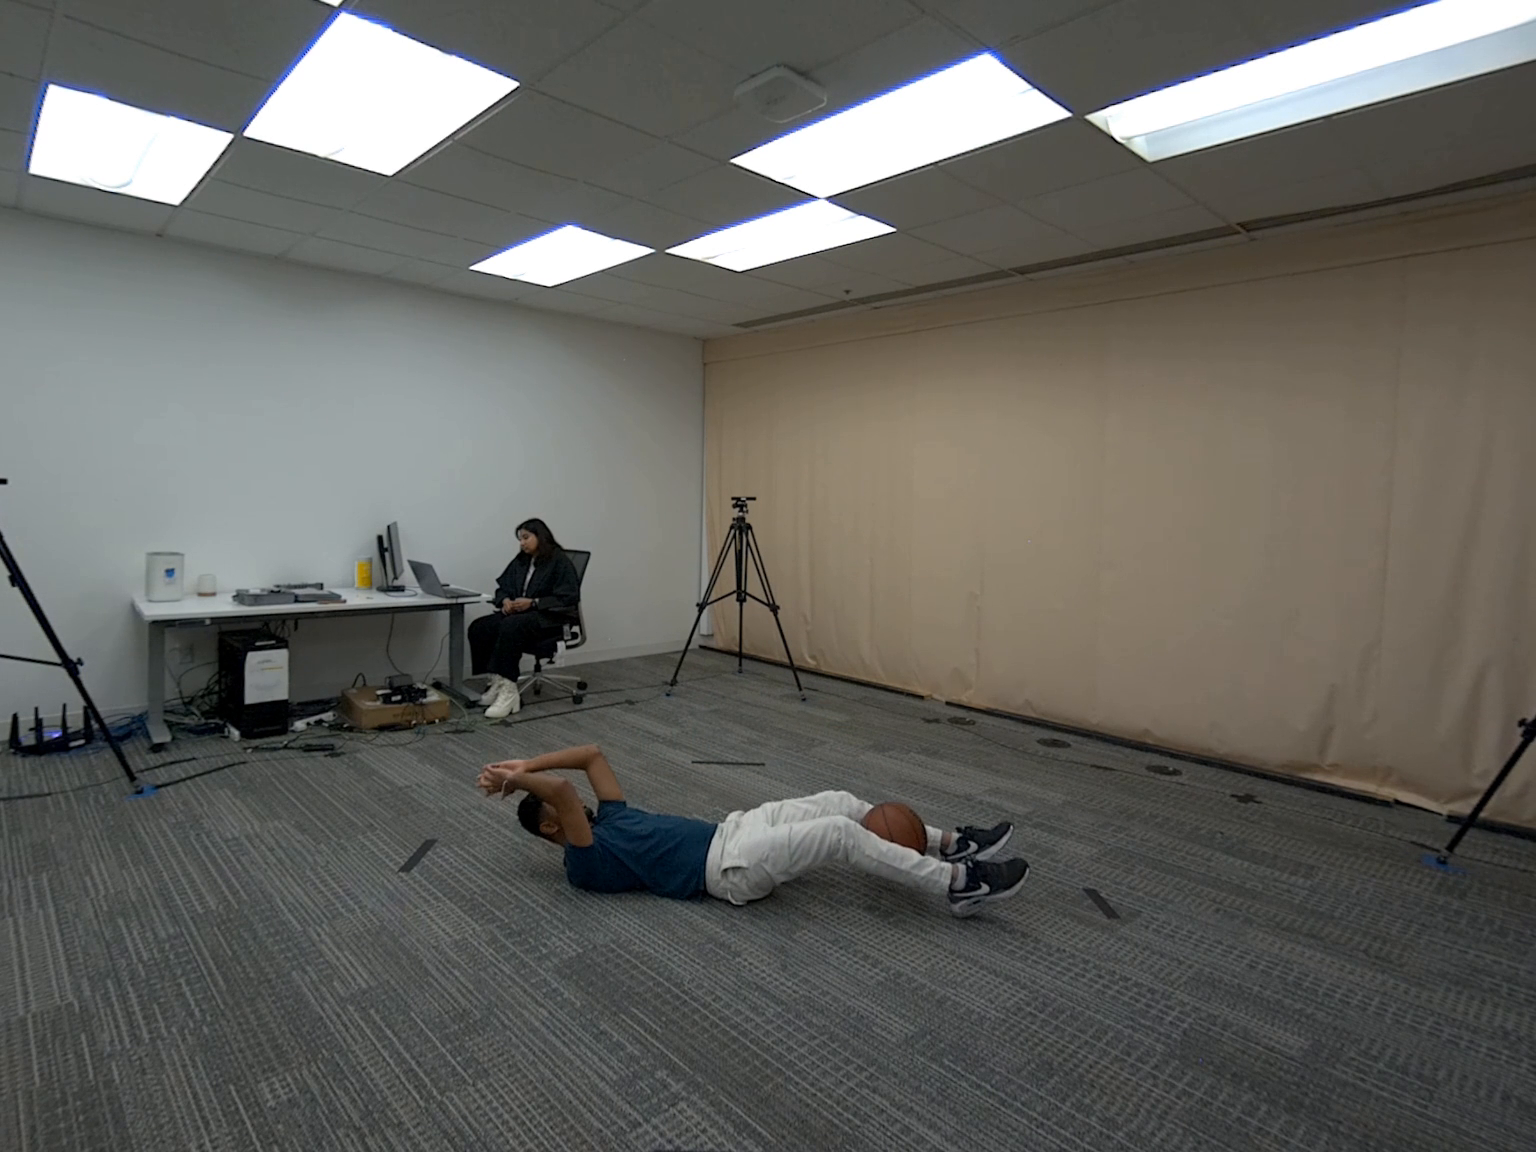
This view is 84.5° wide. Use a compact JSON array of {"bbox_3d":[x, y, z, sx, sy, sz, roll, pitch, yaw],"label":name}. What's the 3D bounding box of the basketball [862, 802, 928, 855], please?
[{"bbox_3d":[0.435,0.909,2.956,0.236,0.235,0.237,1,4,-1],"label":"basketball"}]
